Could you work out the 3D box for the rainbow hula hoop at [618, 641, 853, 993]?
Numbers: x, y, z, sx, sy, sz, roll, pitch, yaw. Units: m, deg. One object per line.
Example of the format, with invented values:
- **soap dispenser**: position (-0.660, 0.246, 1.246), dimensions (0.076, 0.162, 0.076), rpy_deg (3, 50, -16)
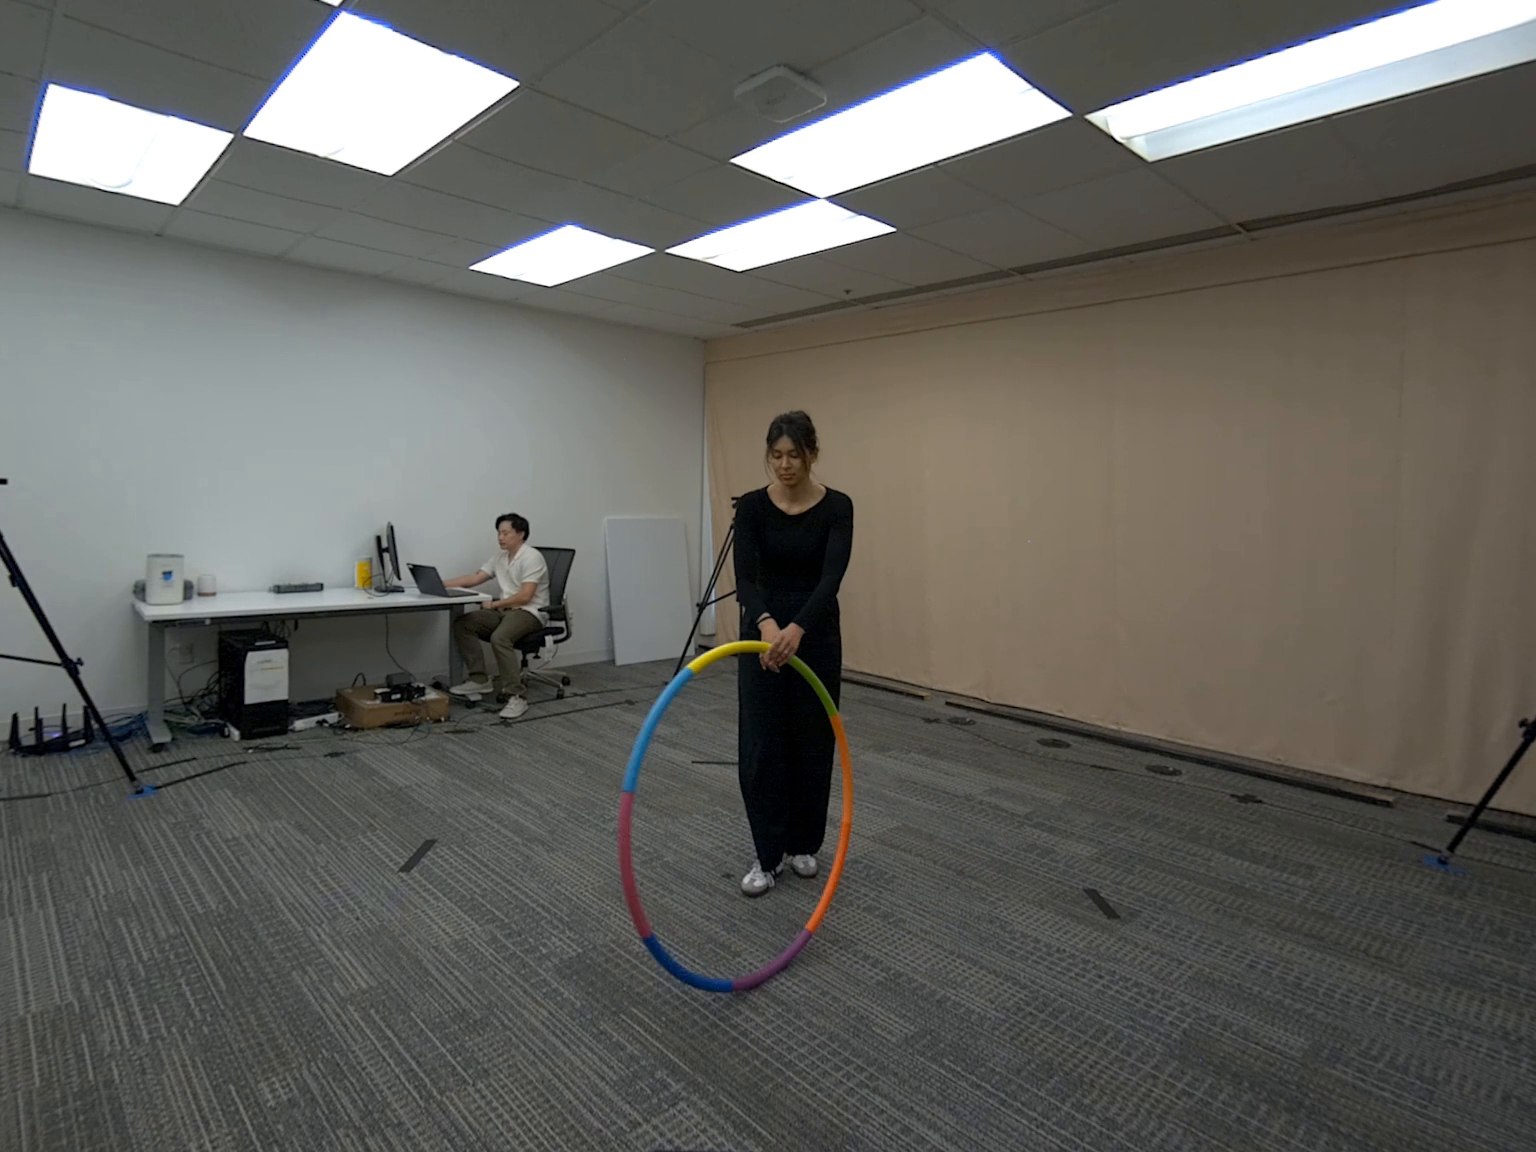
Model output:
- **rainbow hula hoop**: position (-0.049, 0.689, 2.464), dimensions (0.036, 0.980, 0.957), rpy_deg (-8, -3, 41)
